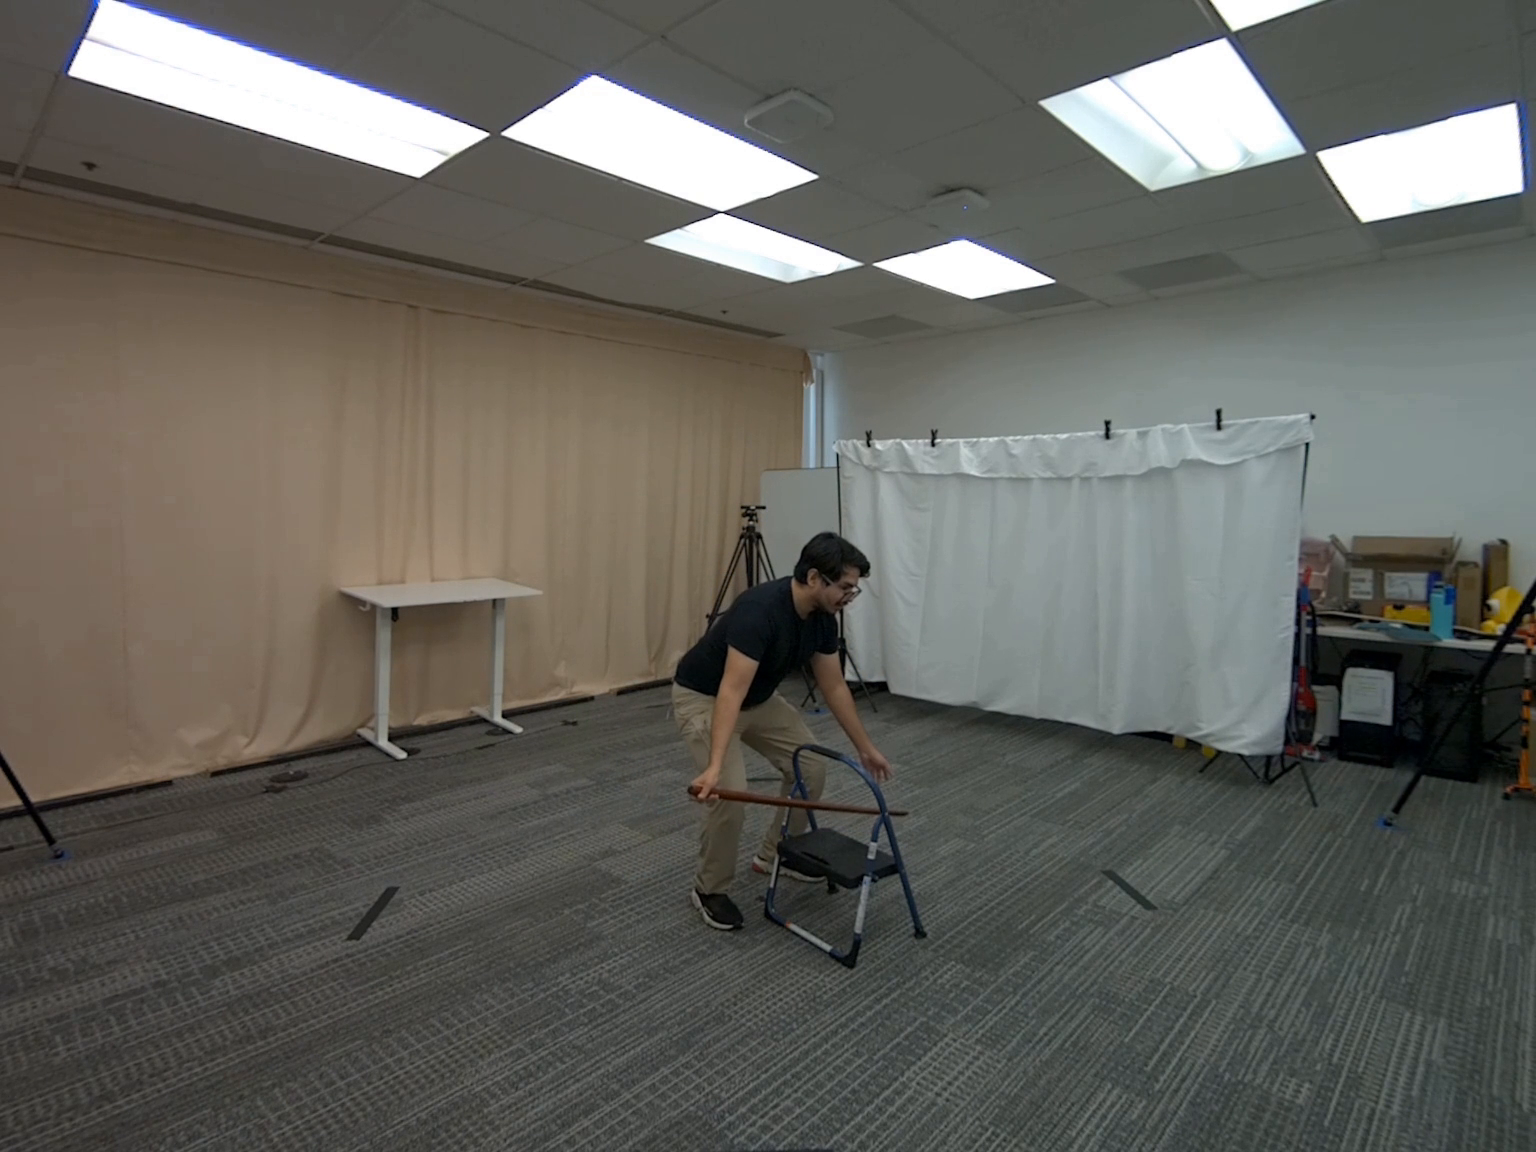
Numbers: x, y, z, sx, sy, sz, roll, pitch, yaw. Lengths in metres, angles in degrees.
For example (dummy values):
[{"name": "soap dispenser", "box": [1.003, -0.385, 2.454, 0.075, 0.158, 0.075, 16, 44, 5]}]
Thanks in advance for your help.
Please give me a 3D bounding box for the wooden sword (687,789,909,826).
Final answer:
[{"name": "wooden sword", "box": [0.154, 0.763, 2.738, 0.988, 0.024, 0.053, 19, -20, -41]}]
